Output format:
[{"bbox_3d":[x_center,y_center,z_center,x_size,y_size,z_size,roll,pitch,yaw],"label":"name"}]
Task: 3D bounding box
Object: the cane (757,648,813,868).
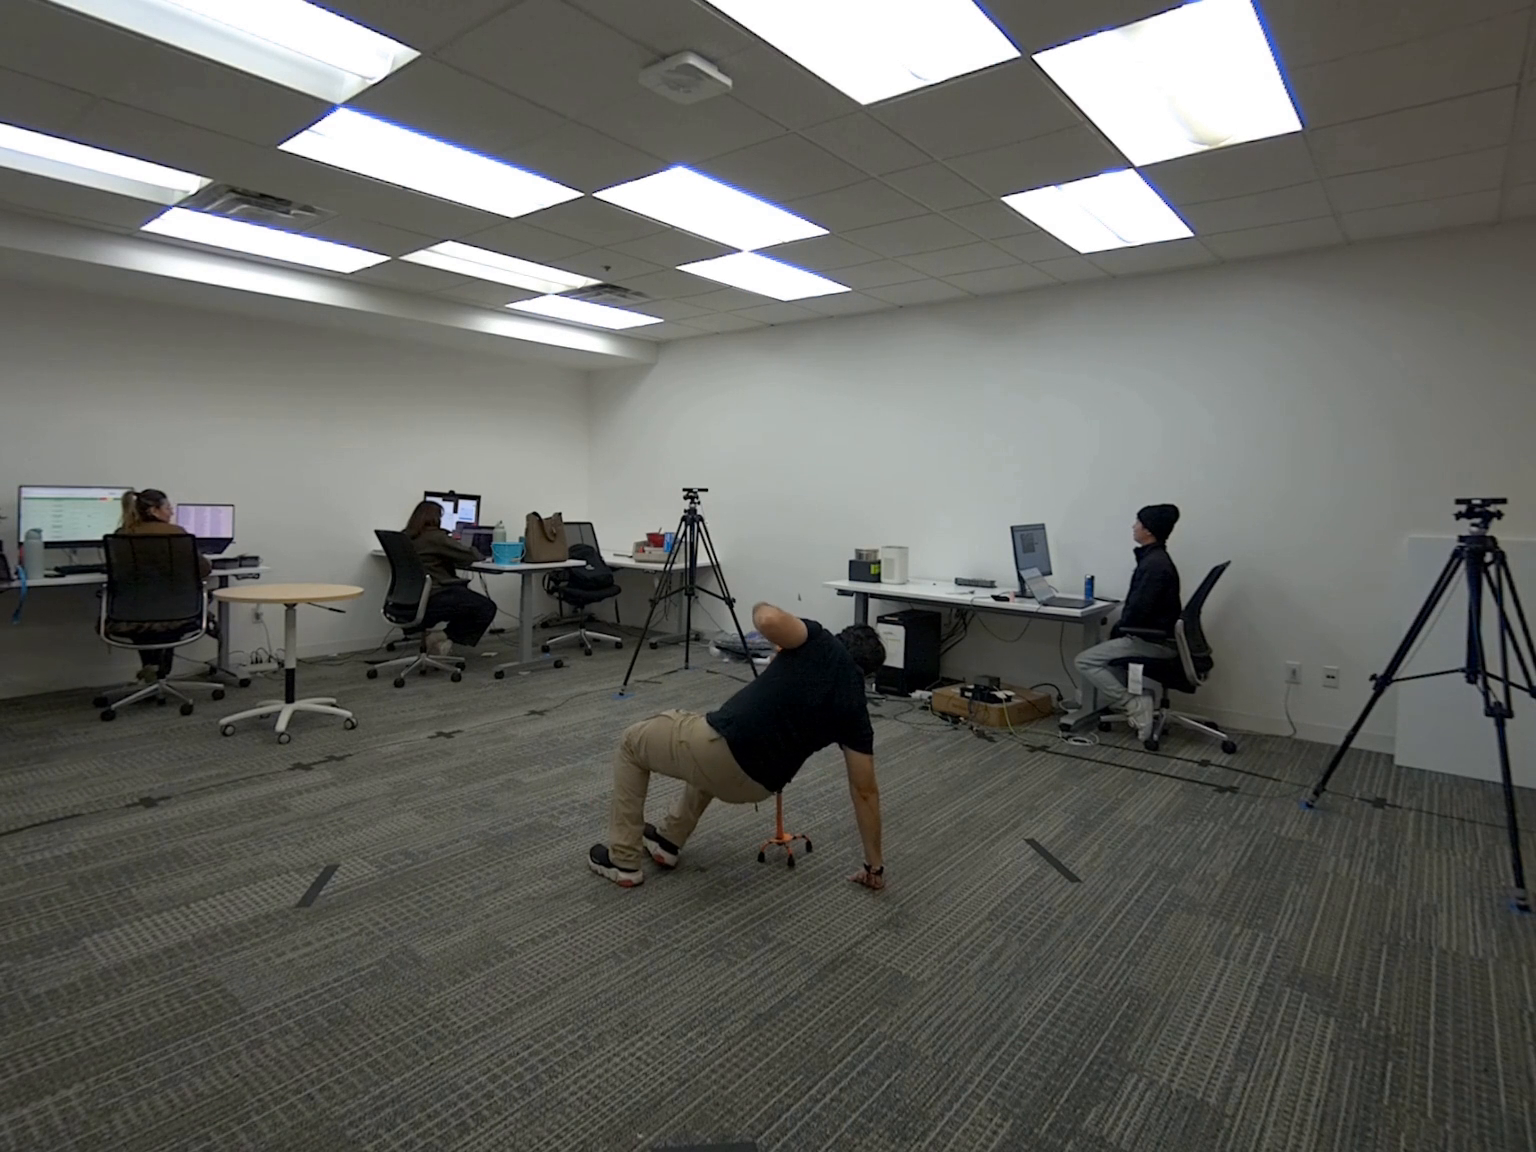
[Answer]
[{"bbox_3d":[0.043,0.616,3.250,0.155,0.909,0.201,-3,-1,26],"label":"cane"}]
